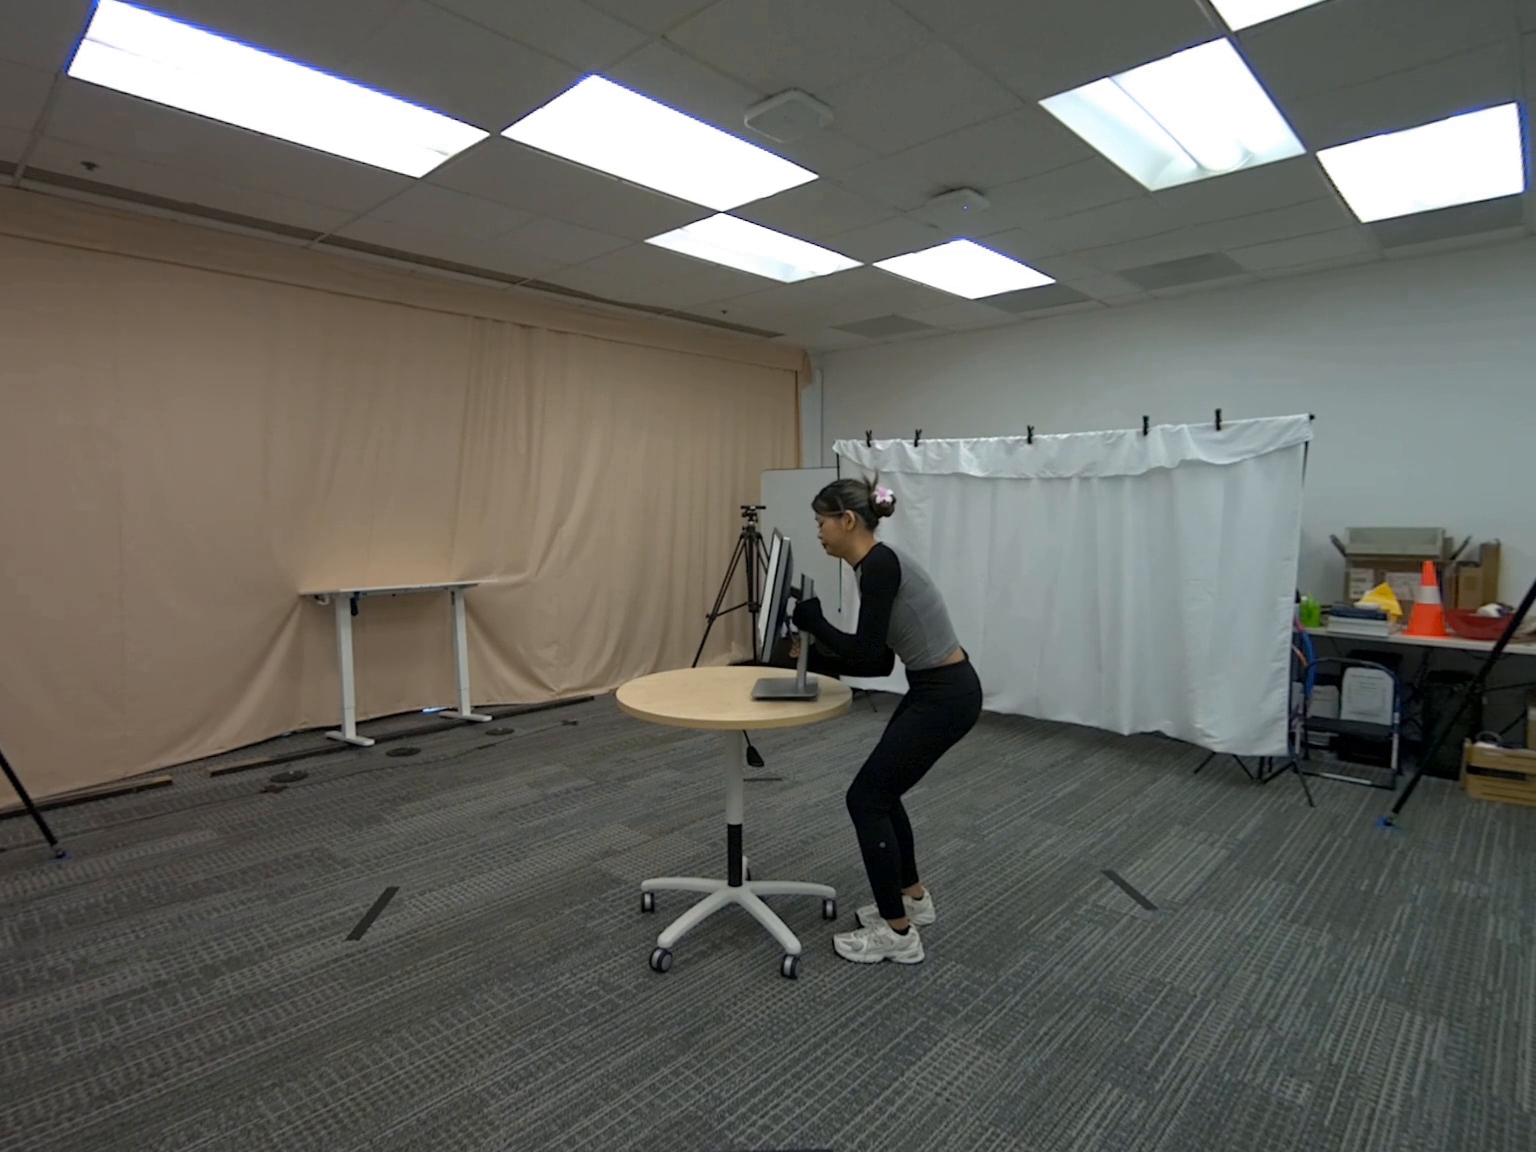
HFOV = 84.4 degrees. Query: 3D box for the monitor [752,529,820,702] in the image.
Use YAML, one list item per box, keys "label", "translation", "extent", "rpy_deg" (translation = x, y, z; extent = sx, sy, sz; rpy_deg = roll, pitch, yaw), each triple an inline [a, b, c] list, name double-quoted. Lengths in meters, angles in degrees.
- label: "monitor"
  translation: [0.060, 0.119, 2.684]
  extent: [0.187, 0.521, 0.541]
  rpy_deg: [-3, 6, -2]
